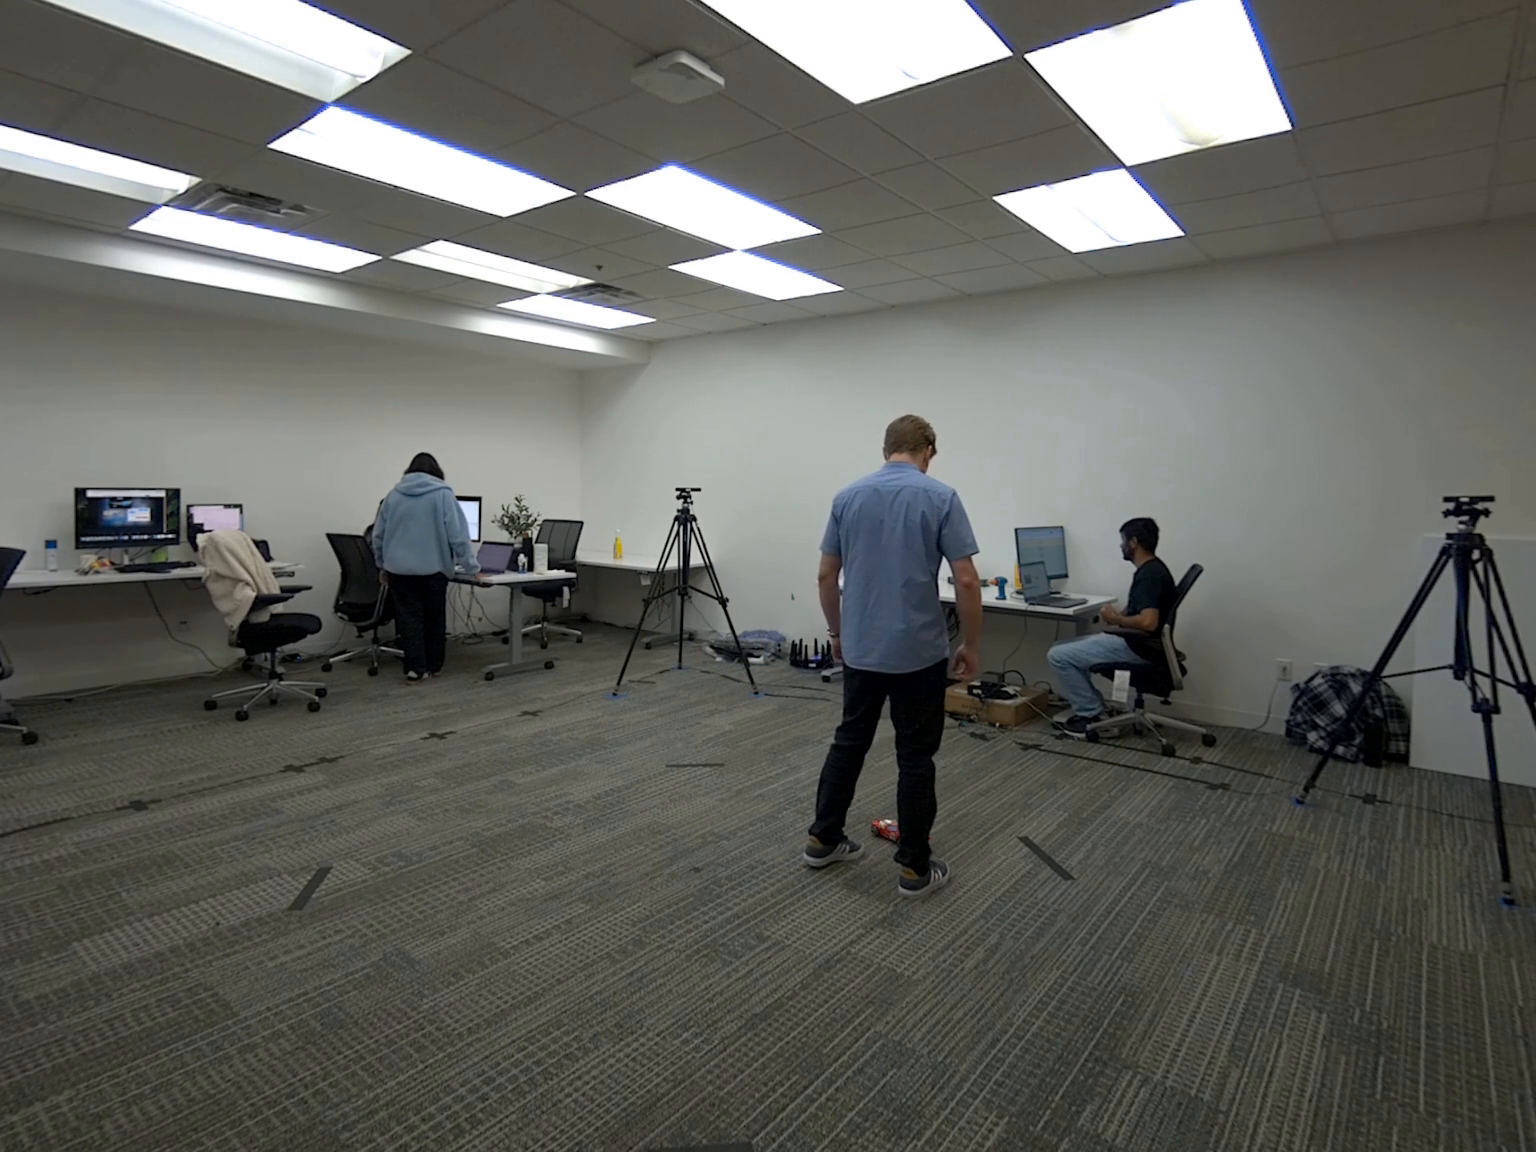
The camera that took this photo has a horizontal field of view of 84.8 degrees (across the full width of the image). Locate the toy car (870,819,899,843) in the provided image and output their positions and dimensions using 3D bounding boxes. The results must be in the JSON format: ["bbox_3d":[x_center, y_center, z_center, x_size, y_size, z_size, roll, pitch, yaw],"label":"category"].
[{"bbox_3d":[0.528,1.025,3.392,0.126,0.084,0.261,0,-5,-37],"label":"toy car"}]
